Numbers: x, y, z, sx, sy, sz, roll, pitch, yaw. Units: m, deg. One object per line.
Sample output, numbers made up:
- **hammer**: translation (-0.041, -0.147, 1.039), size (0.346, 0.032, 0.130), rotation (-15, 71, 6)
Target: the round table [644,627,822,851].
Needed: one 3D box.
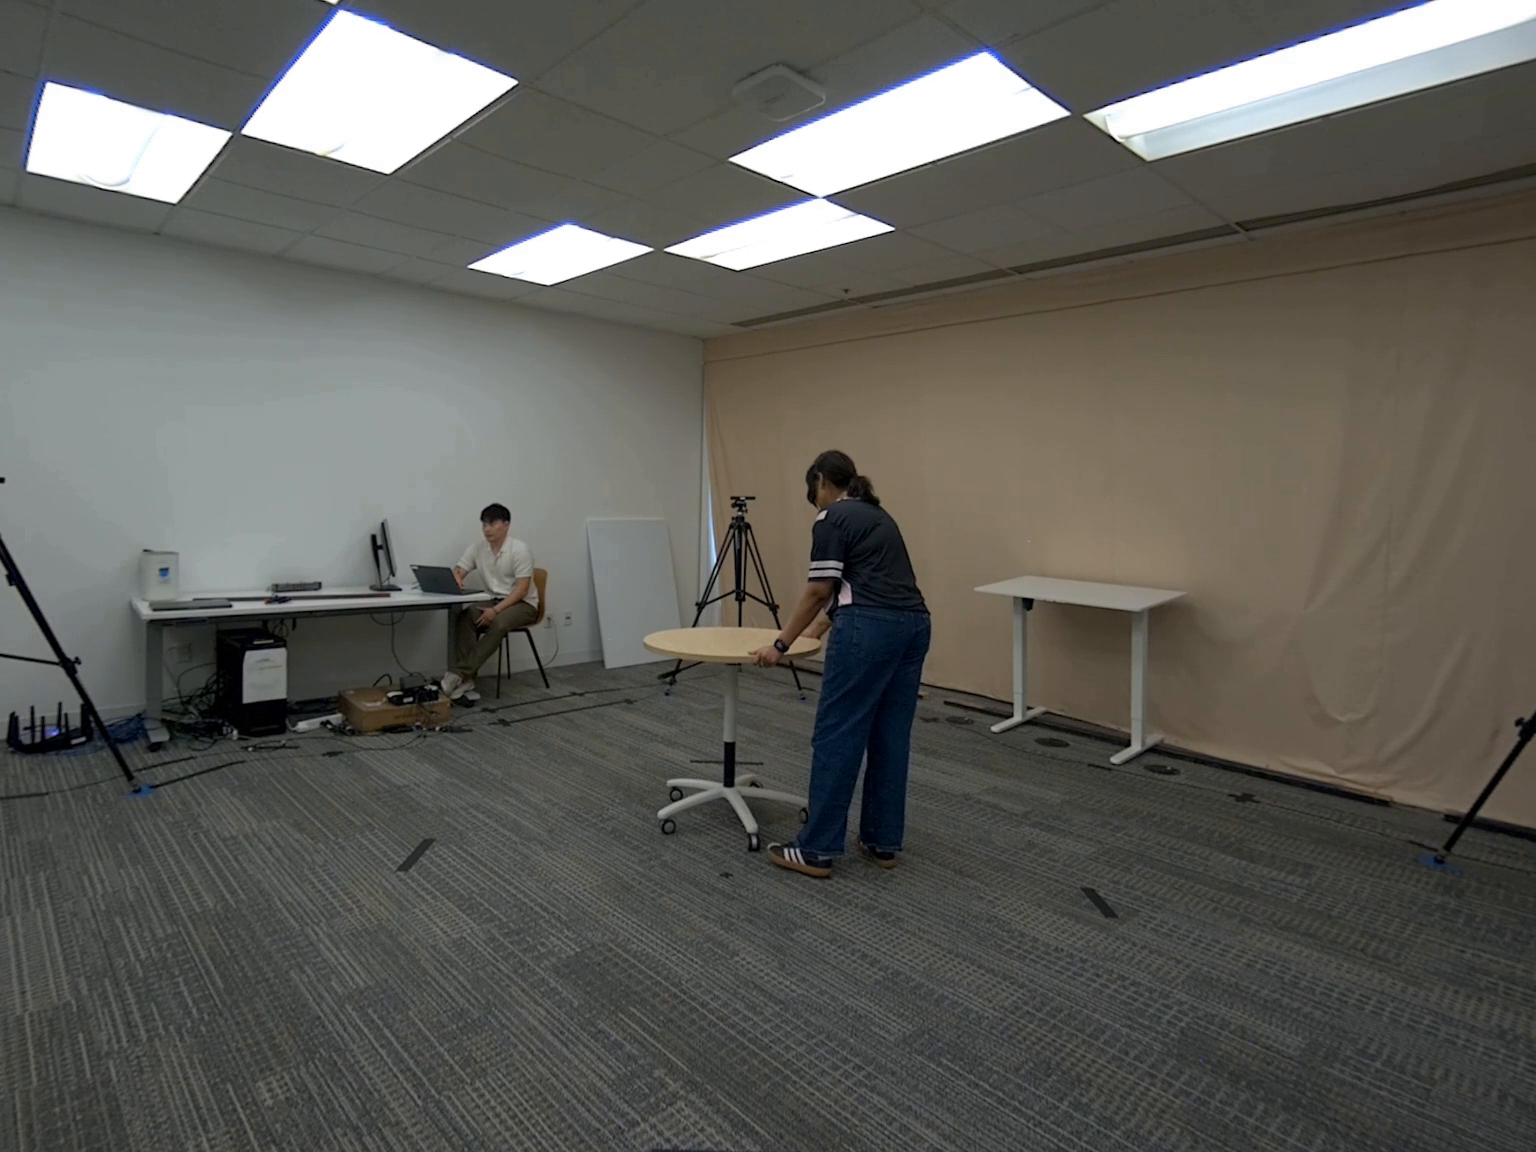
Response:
- **round table**: translation (-0.156, 0.663, 3.649), size (0.784, 0.785, 0.787), rotation (1, 3, -1)
